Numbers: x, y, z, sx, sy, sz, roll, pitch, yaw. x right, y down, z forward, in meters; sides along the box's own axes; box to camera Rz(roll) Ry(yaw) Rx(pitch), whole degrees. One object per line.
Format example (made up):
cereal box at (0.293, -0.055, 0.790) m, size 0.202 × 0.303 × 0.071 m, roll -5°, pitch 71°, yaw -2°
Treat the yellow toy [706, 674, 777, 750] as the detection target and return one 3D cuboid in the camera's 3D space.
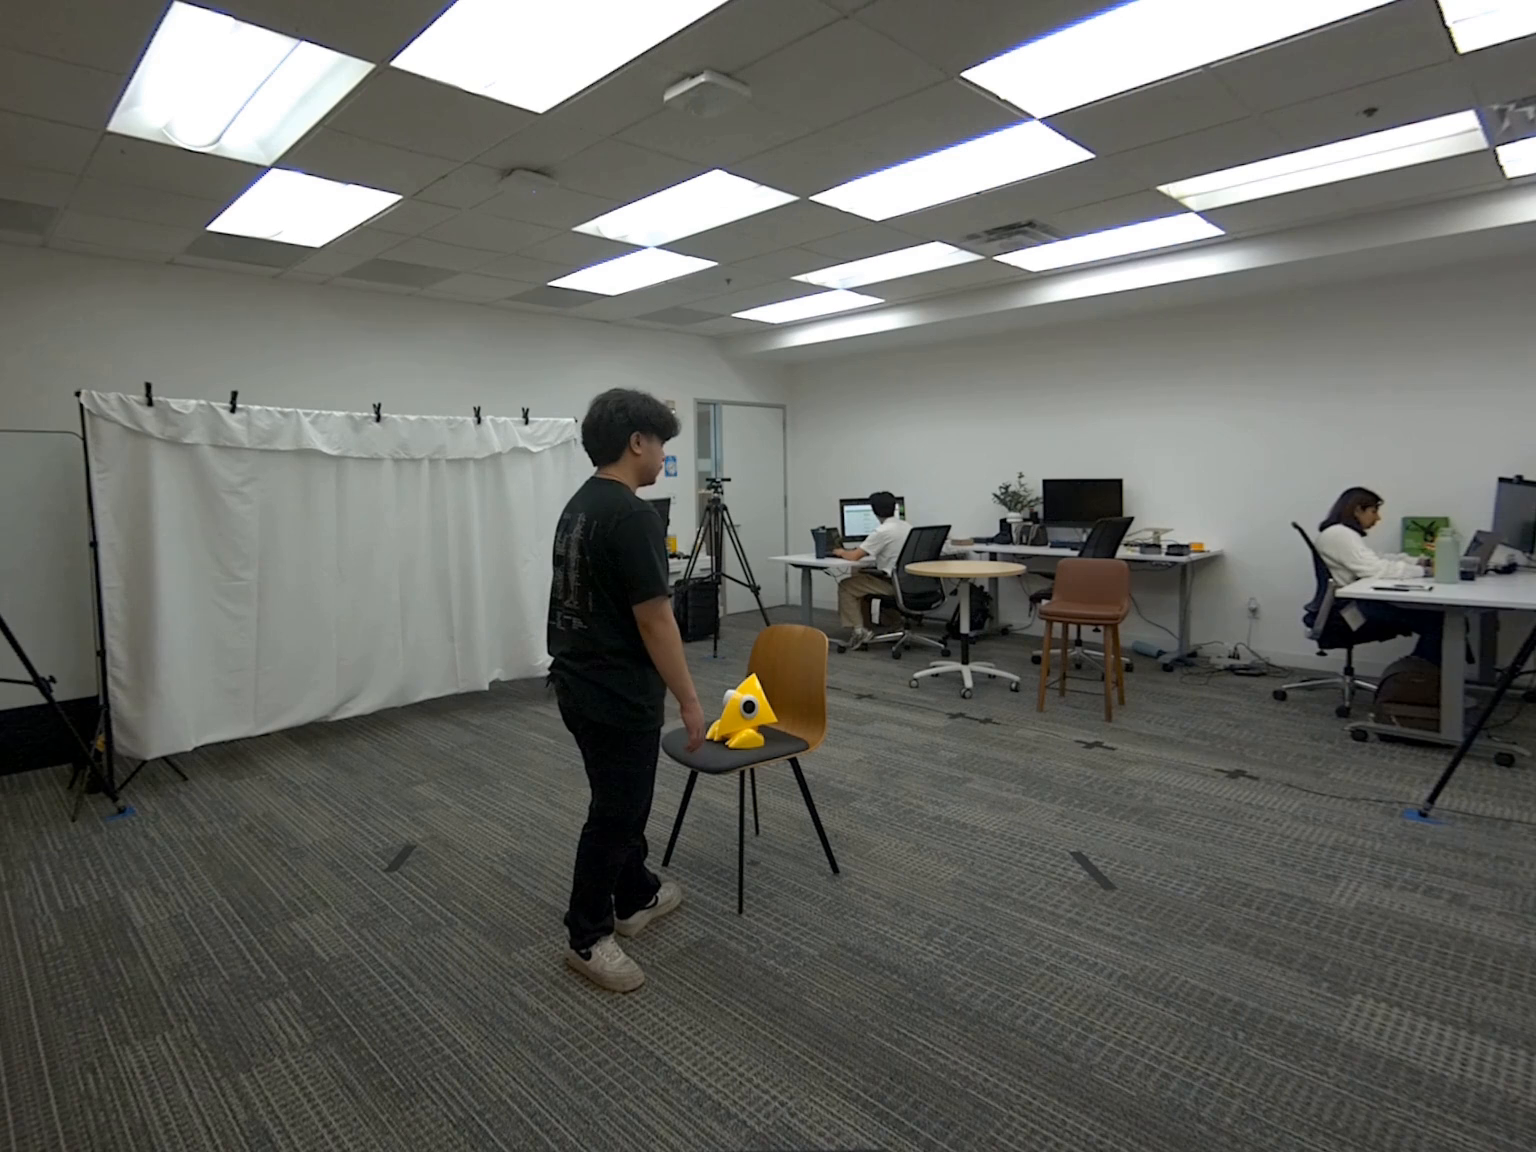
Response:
yellow toy at (-0.096, 0.463, 2.997) m, size 0.187 × 0.230 × 0.211 m, roll 1°, pitch 3°, yaw -40°
